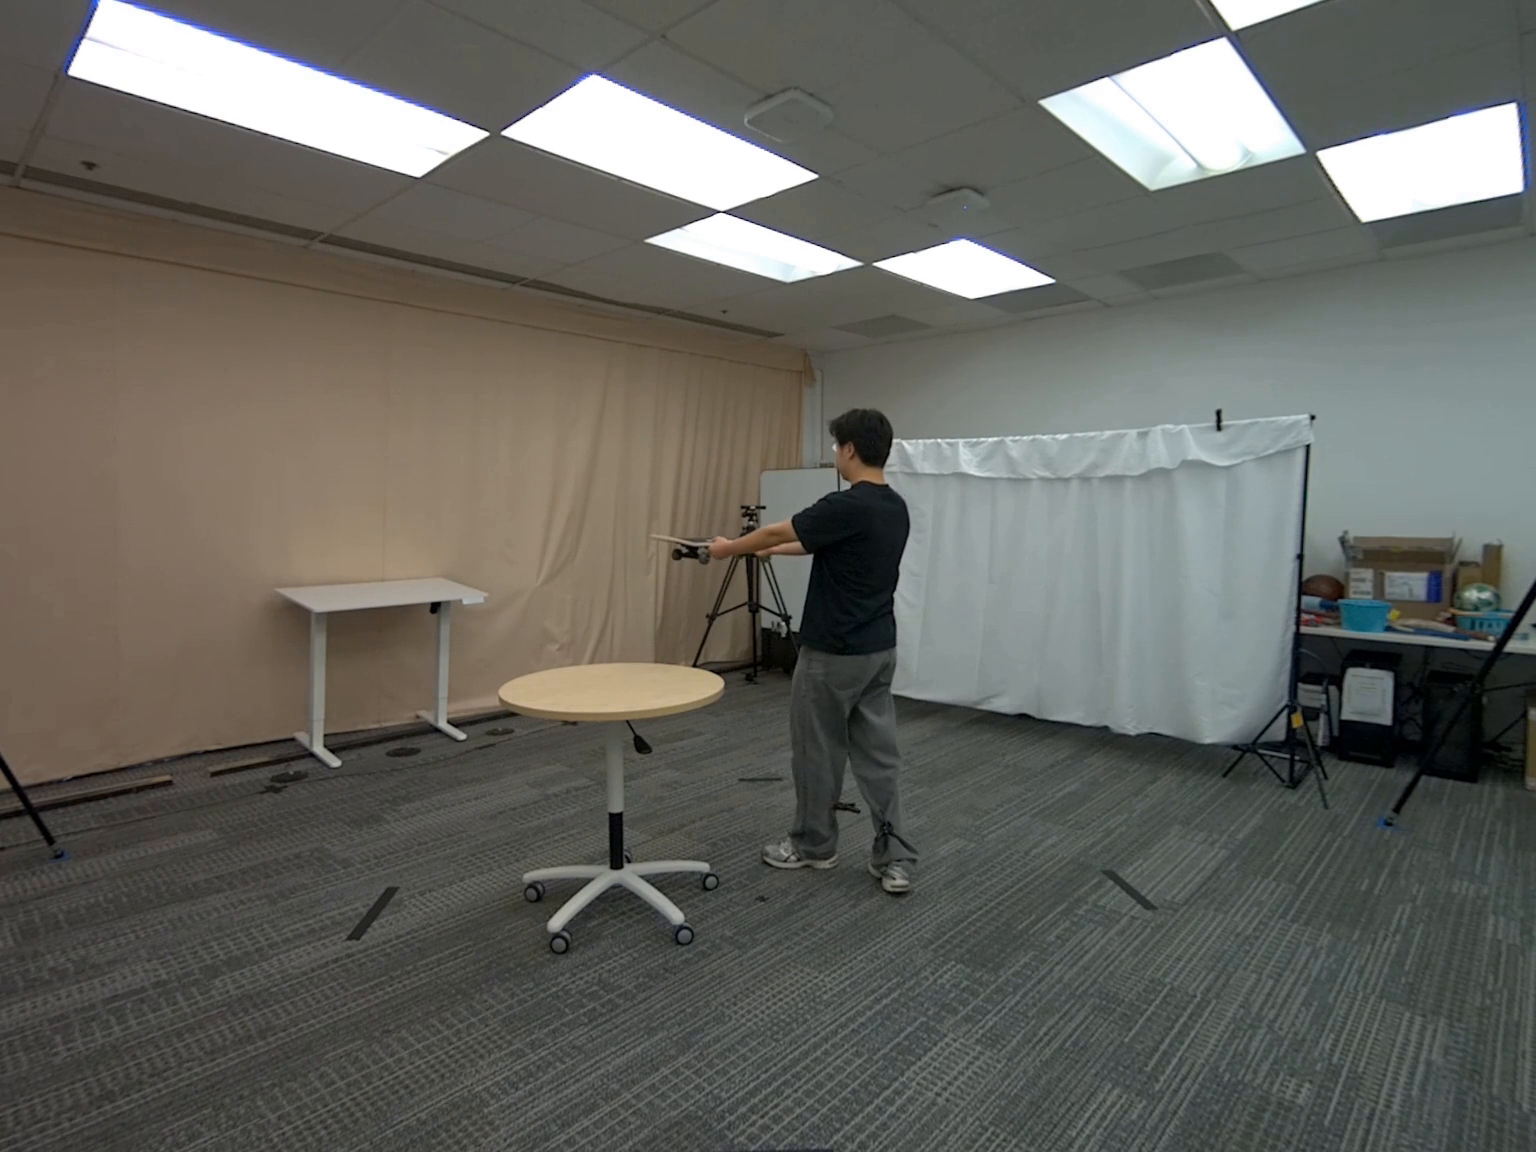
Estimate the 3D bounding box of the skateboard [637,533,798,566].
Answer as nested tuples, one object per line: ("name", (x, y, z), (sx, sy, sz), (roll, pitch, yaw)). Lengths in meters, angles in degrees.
("skateboard", (-0.191, -0.119, 3.556), (0.200, 0.110, 0.761), (7, 7, 41))
